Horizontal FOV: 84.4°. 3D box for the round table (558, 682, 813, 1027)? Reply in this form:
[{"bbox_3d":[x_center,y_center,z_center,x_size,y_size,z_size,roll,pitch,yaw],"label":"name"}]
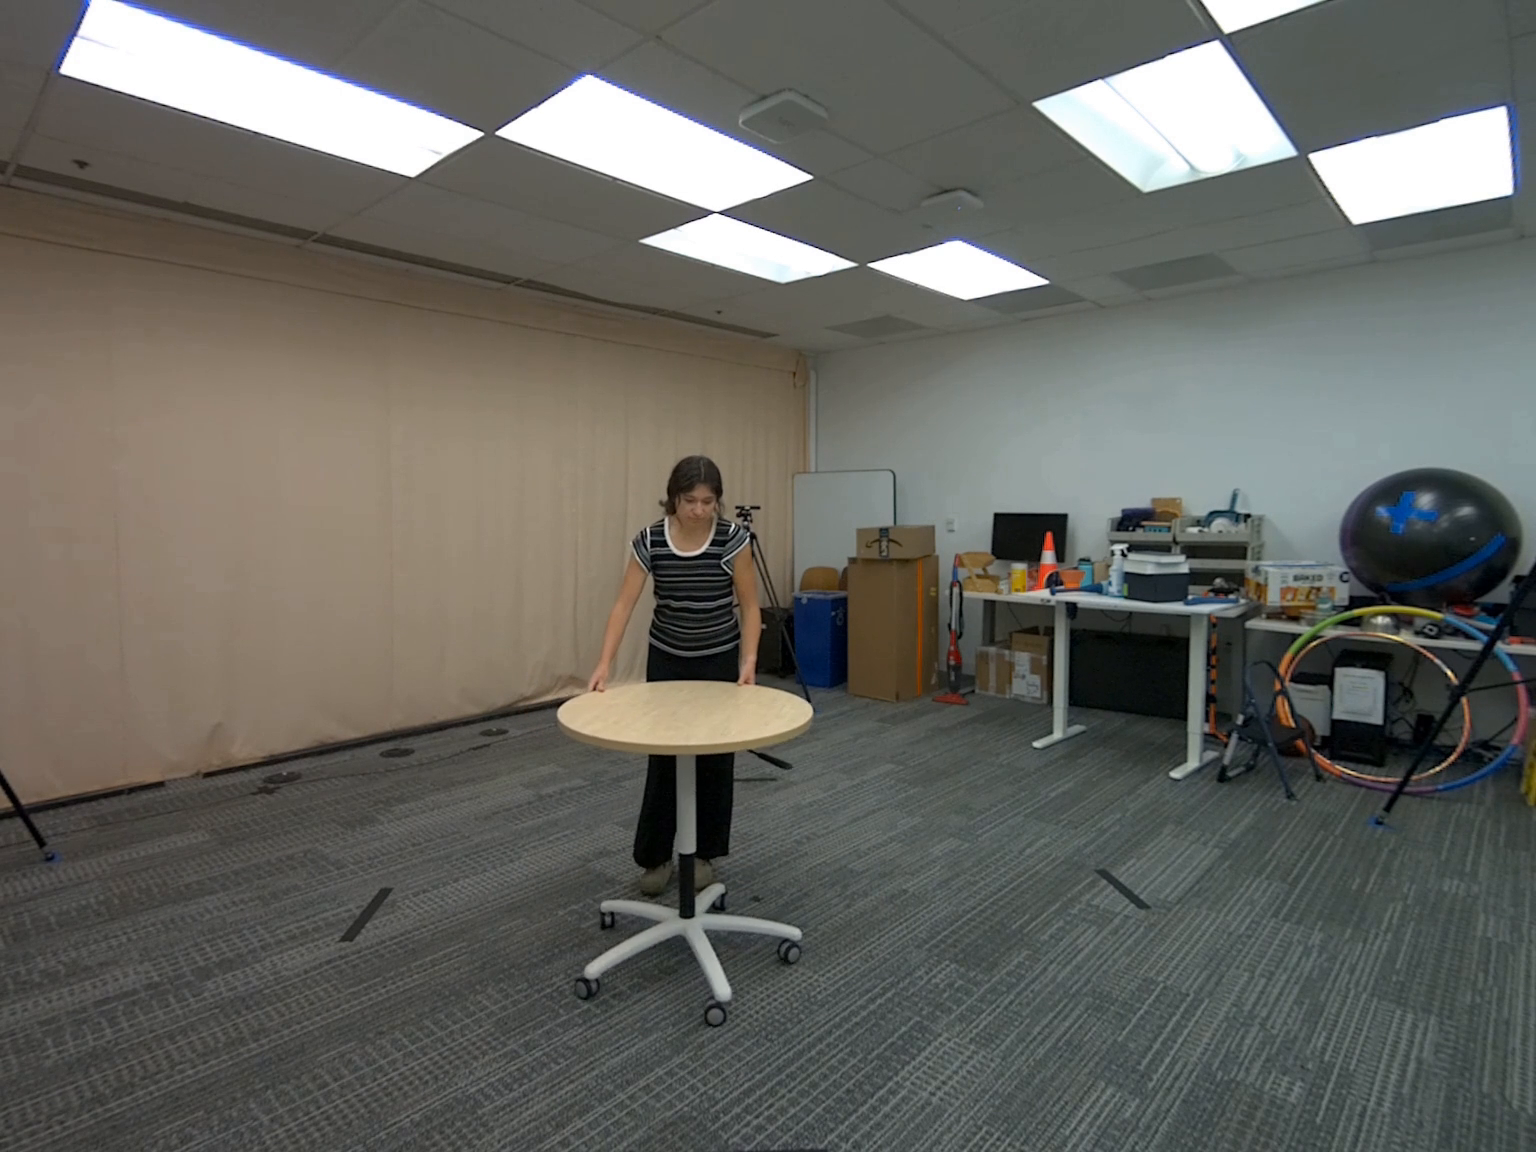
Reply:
[{"bbox_3d":[-0.231,0.784,2.564,0.784,0.785,0.788,0,4,-2],"label":"round table"}]
